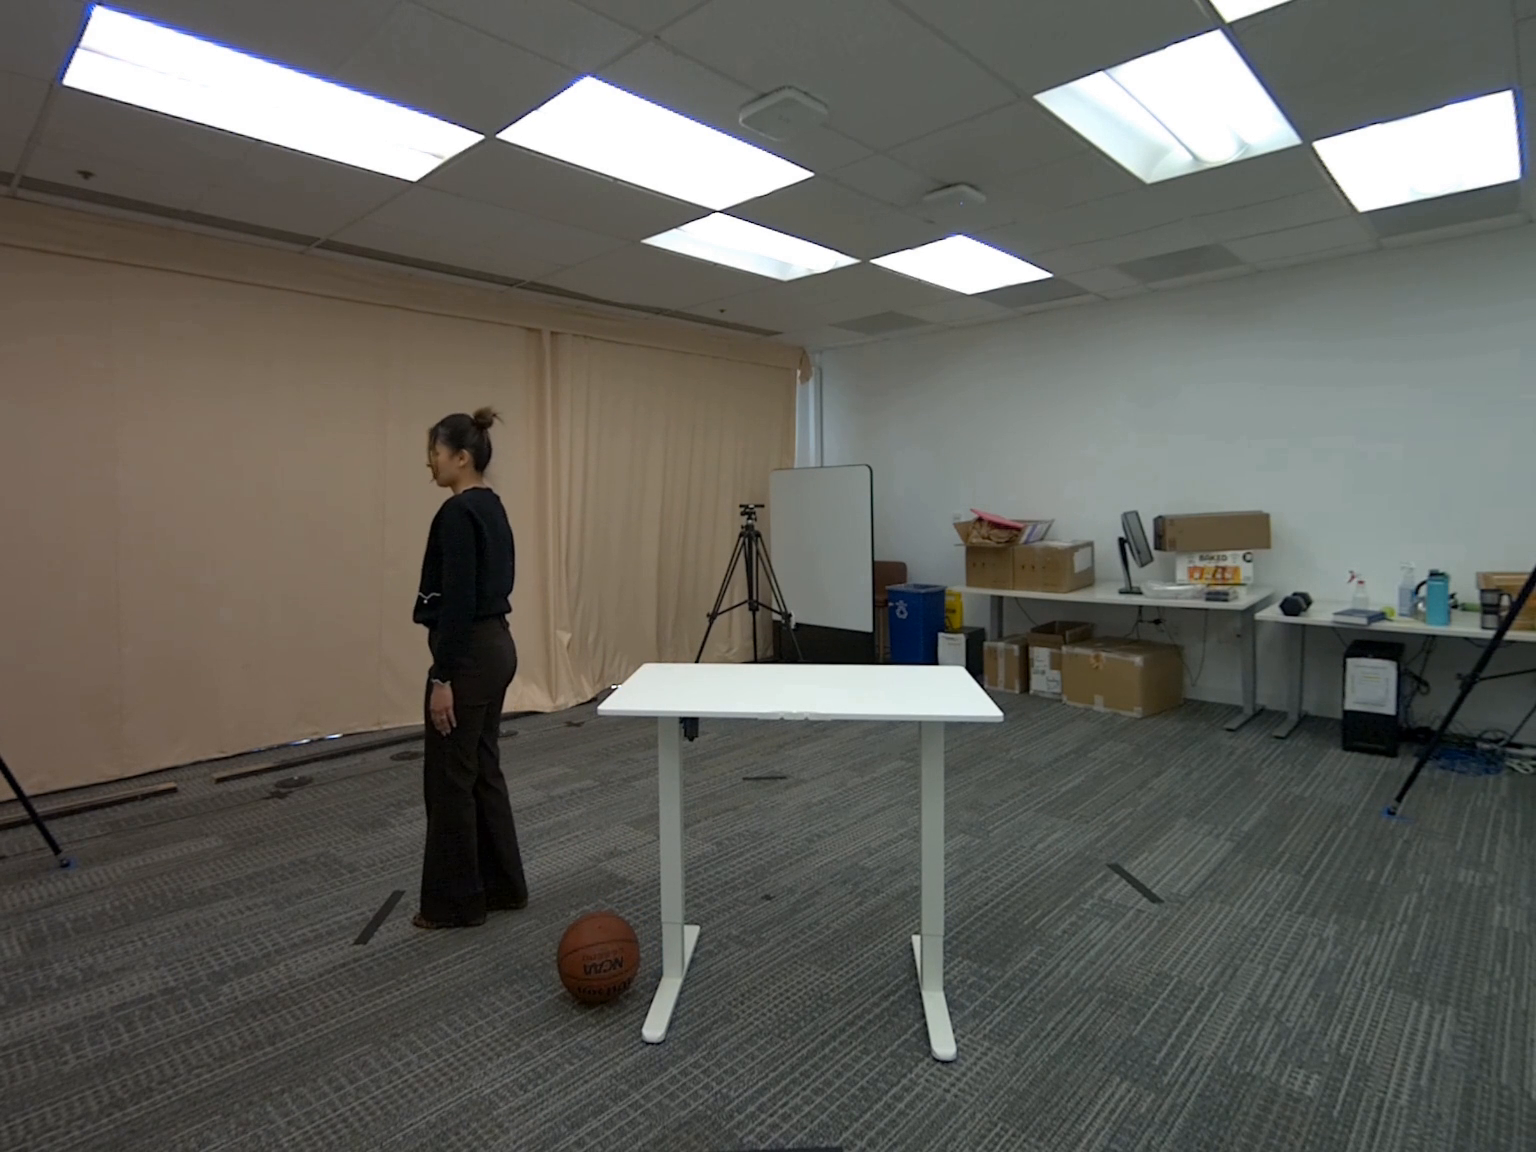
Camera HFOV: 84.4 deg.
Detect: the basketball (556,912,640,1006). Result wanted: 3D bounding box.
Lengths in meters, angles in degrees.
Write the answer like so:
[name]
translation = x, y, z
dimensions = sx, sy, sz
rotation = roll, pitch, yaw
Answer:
[basketball]
translation = -0.484, 1.084, 2.390
dimensions = 0.236, 0.235, 0.237
rotation = -1, 4, -2
